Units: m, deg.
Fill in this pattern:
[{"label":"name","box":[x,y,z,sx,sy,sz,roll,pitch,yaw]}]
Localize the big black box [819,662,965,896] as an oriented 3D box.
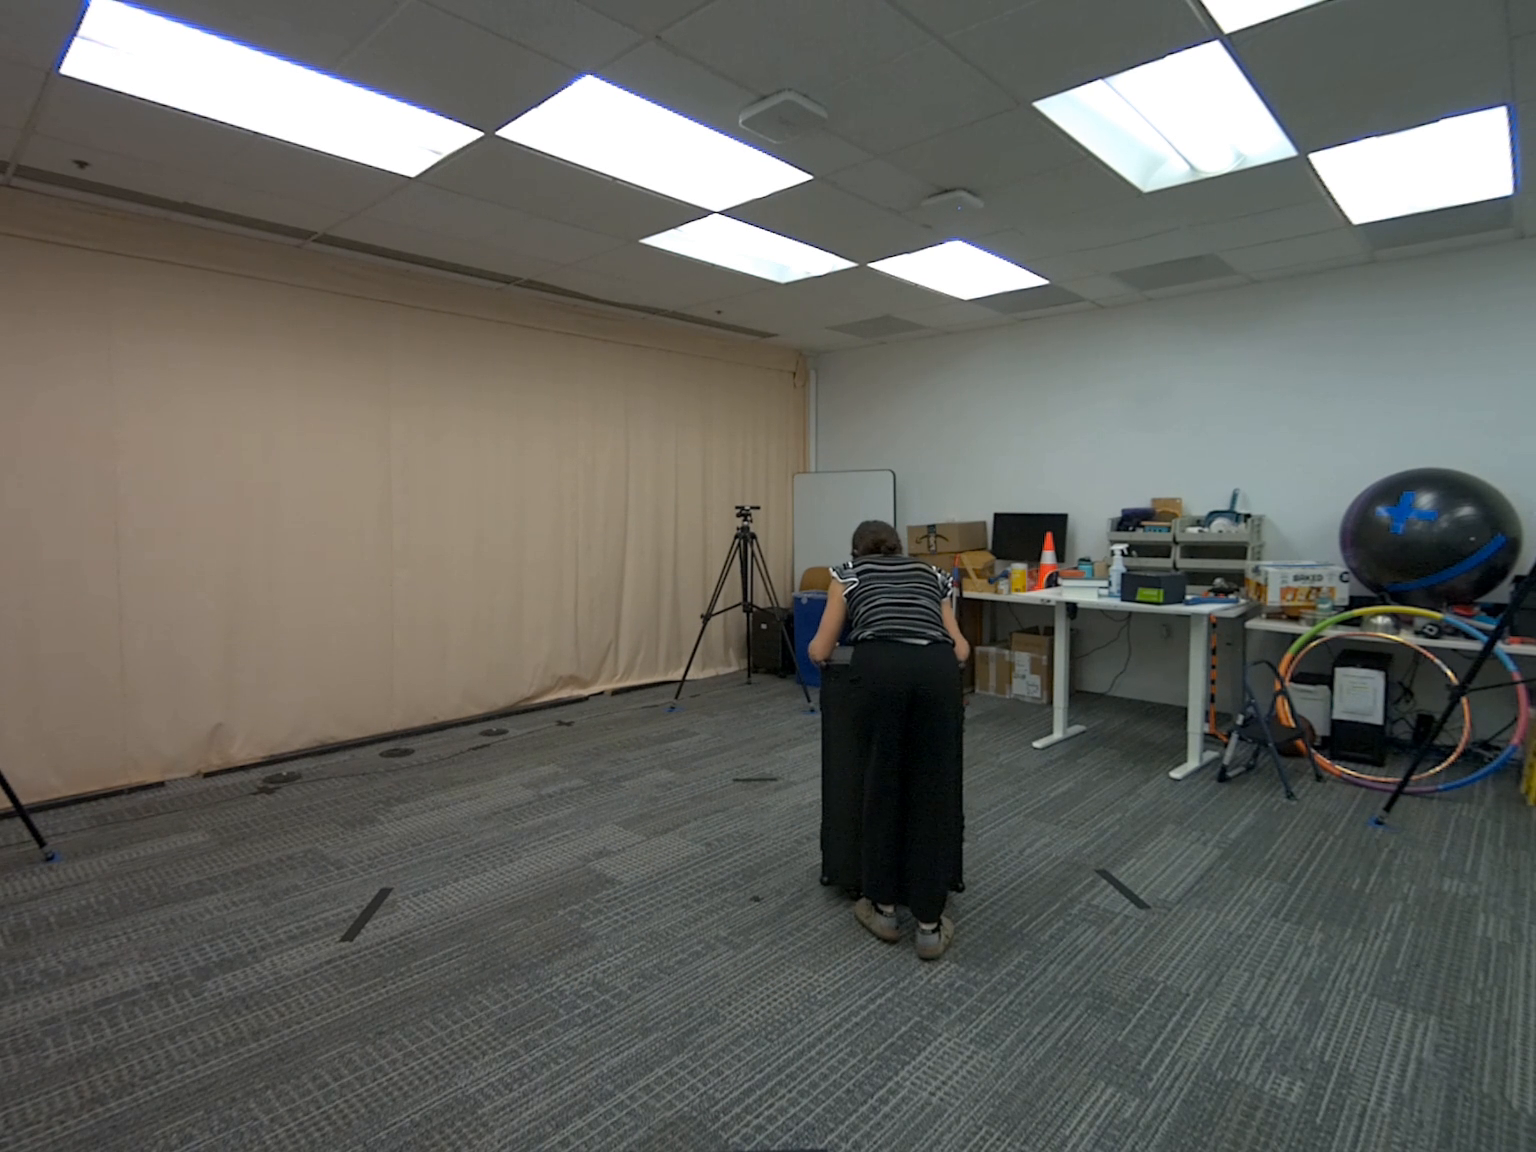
[{"label":"big black box","box":[0.441,0.715,3.077,0.525,0.861,0.393,-1,1,7]}]
